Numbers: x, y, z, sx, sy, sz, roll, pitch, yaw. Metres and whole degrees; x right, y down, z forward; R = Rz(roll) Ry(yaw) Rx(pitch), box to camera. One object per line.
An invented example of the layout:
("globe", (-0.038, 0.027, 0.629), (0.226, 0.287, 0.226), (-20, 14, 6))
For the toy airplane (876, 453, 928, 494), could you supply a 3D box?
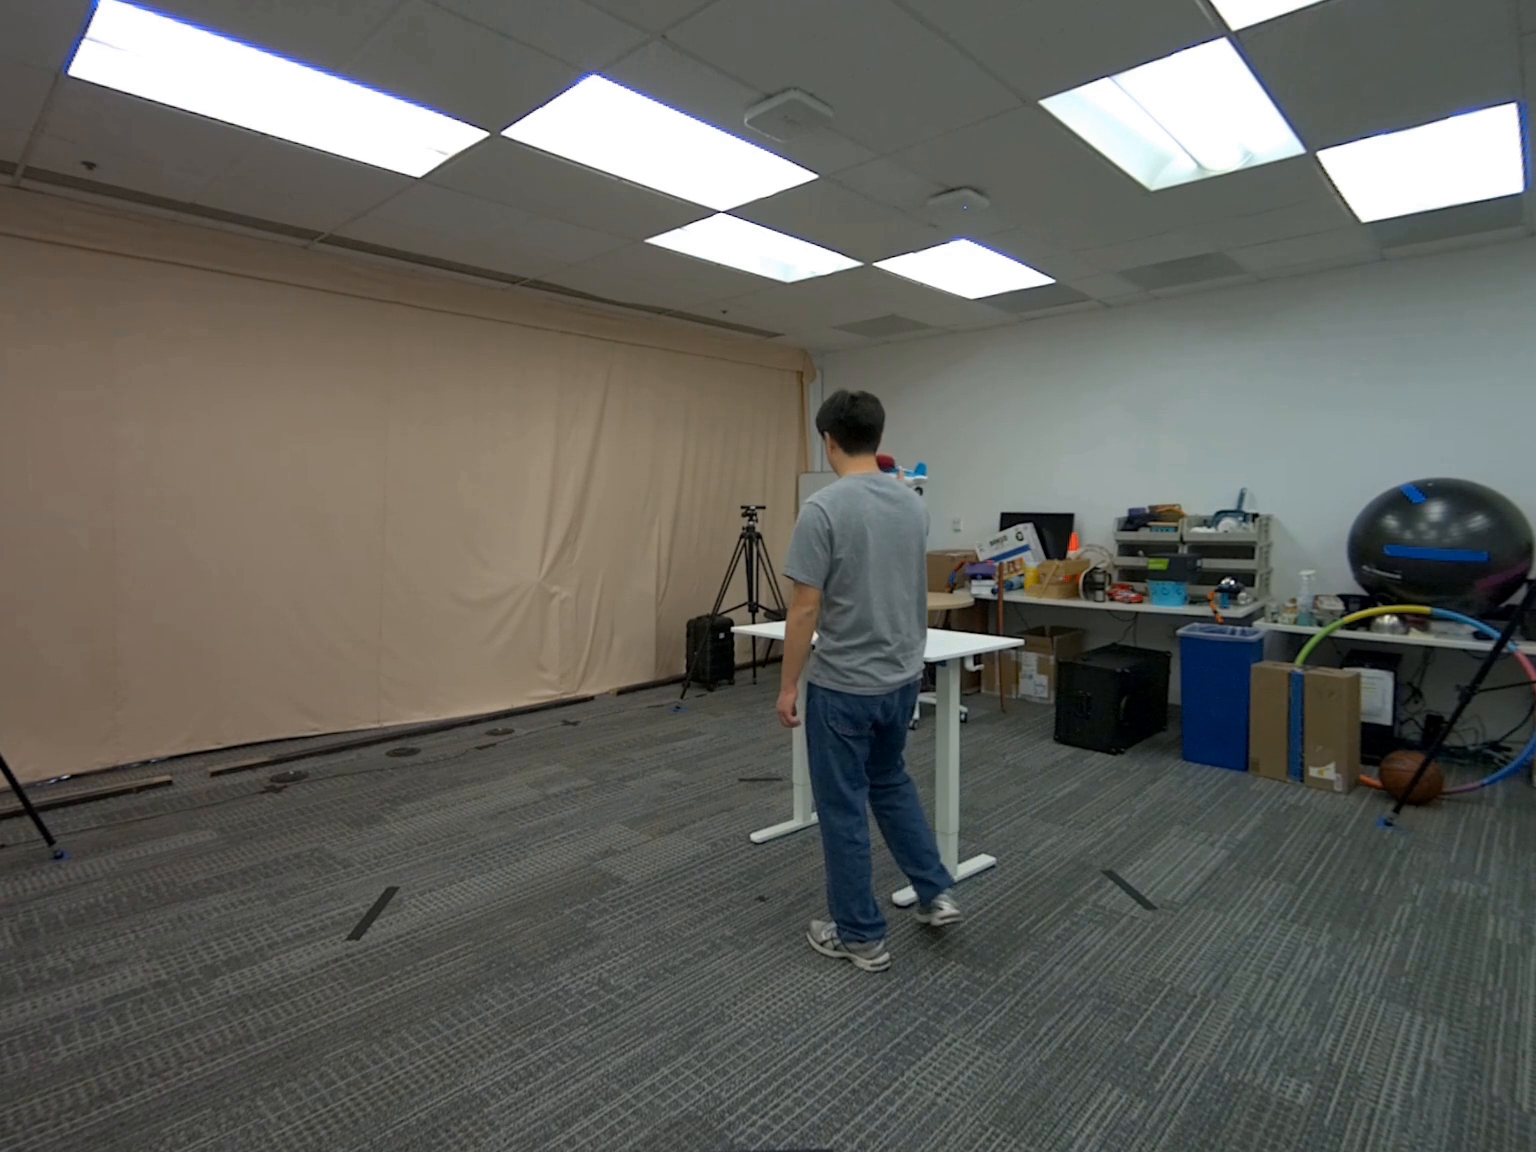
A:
("toy airplane", (0.473, -0.361, 3.179), (0.253, 0.157, 0.255), (-1, -10, -24))
